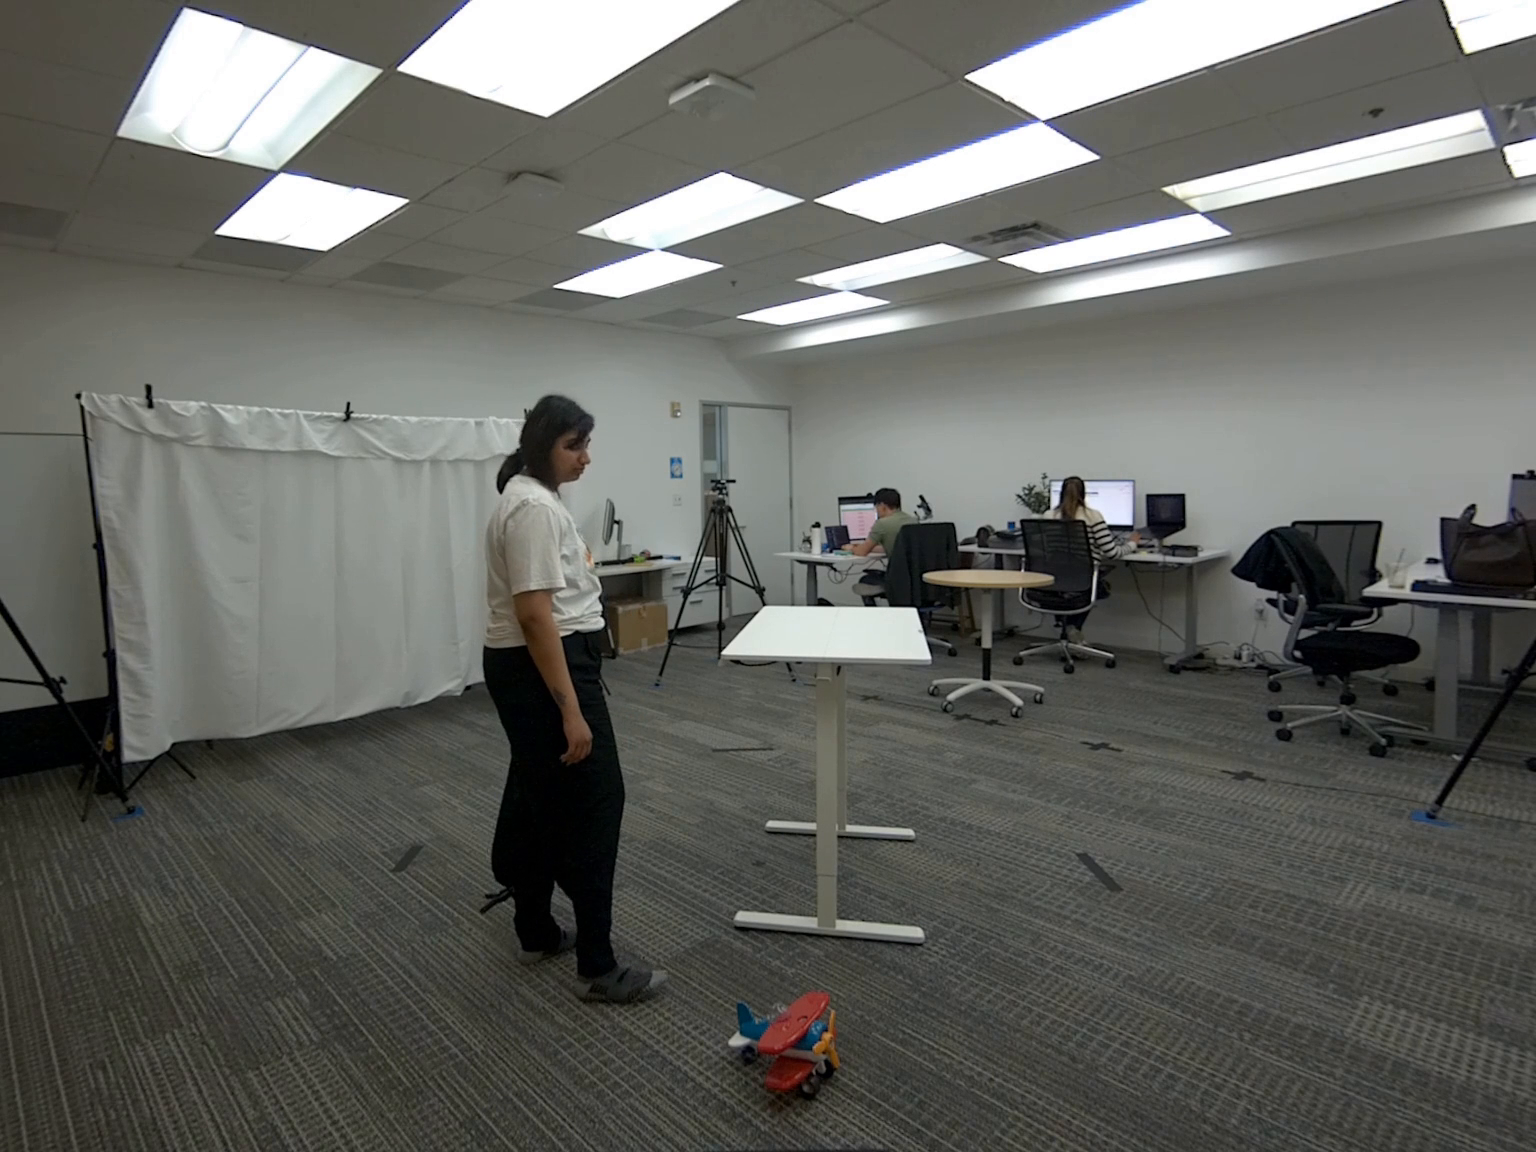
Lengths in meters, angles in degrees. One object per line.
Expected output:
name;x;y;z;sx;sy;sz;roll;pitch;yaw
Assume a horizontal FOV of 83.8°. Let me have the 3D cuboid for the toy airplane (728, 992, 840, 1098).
toy airplane;0.044;1.106;1.987;0.261;0.155;0.251;0;7;6
